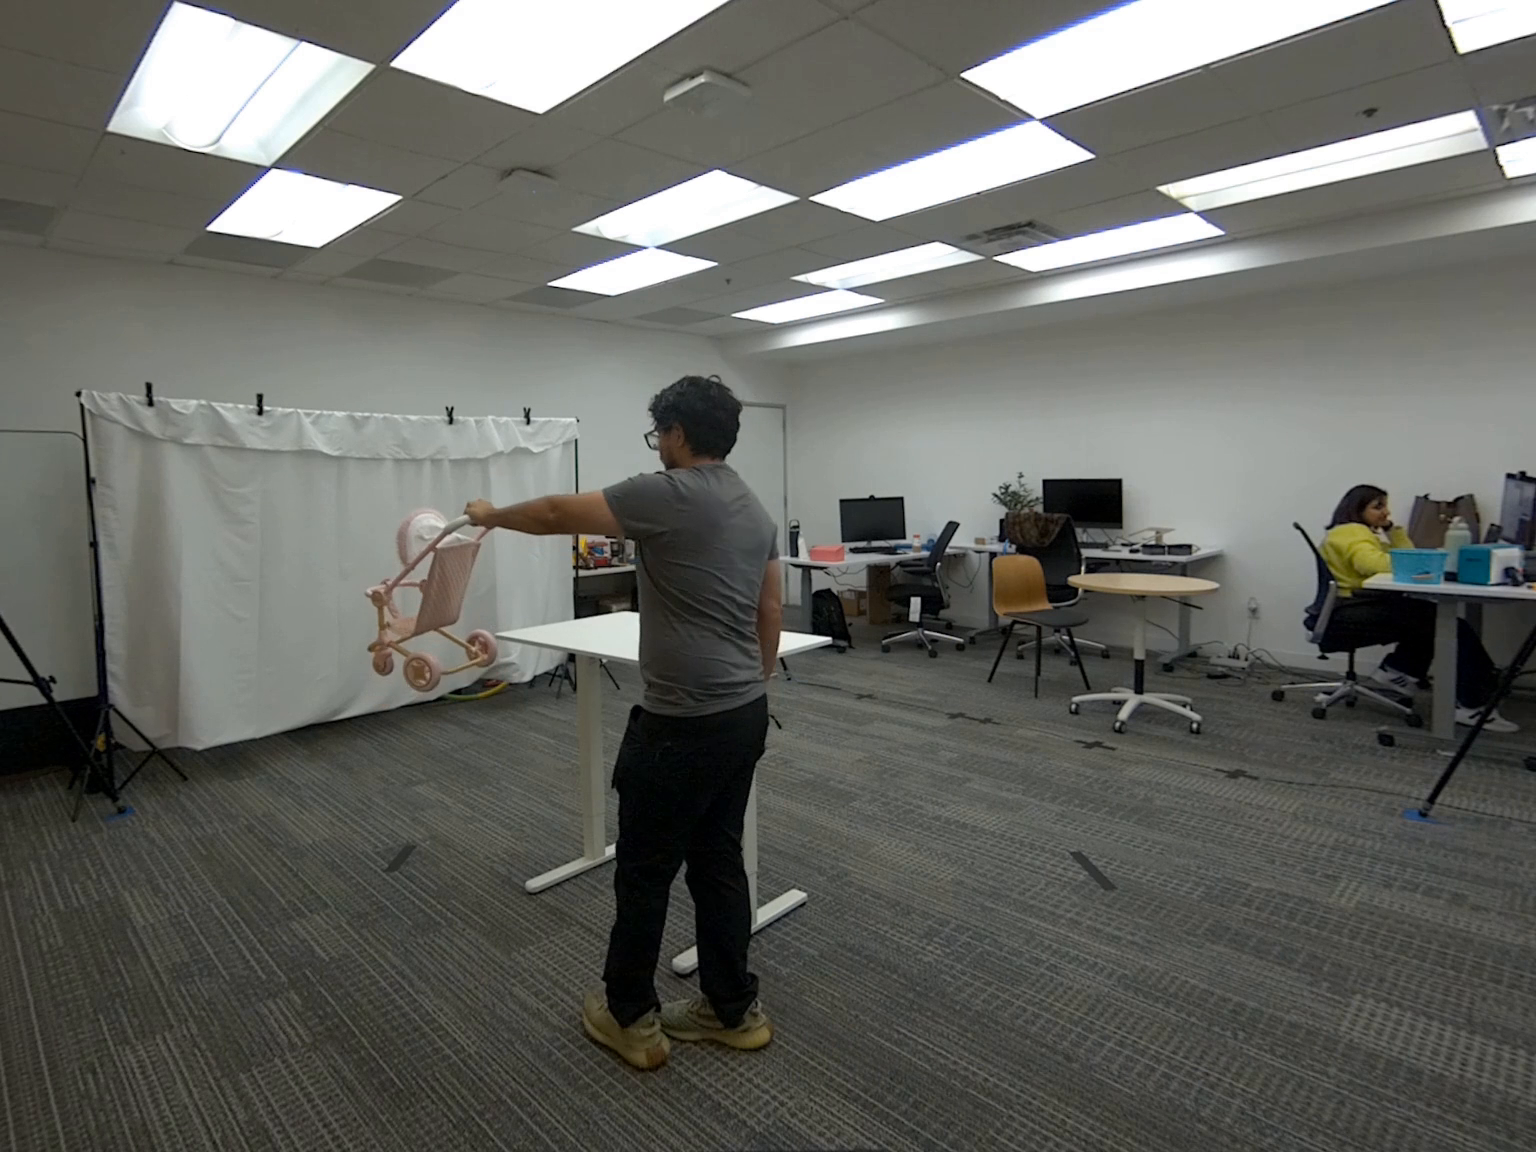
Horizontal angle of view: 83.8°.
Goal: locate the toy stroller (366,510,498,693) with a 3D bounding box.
[{"bbox_3d":[-0.935,0.055,2.350,0.350,0.531,0.276,14,11,23],"label":"toy stroller"}]
